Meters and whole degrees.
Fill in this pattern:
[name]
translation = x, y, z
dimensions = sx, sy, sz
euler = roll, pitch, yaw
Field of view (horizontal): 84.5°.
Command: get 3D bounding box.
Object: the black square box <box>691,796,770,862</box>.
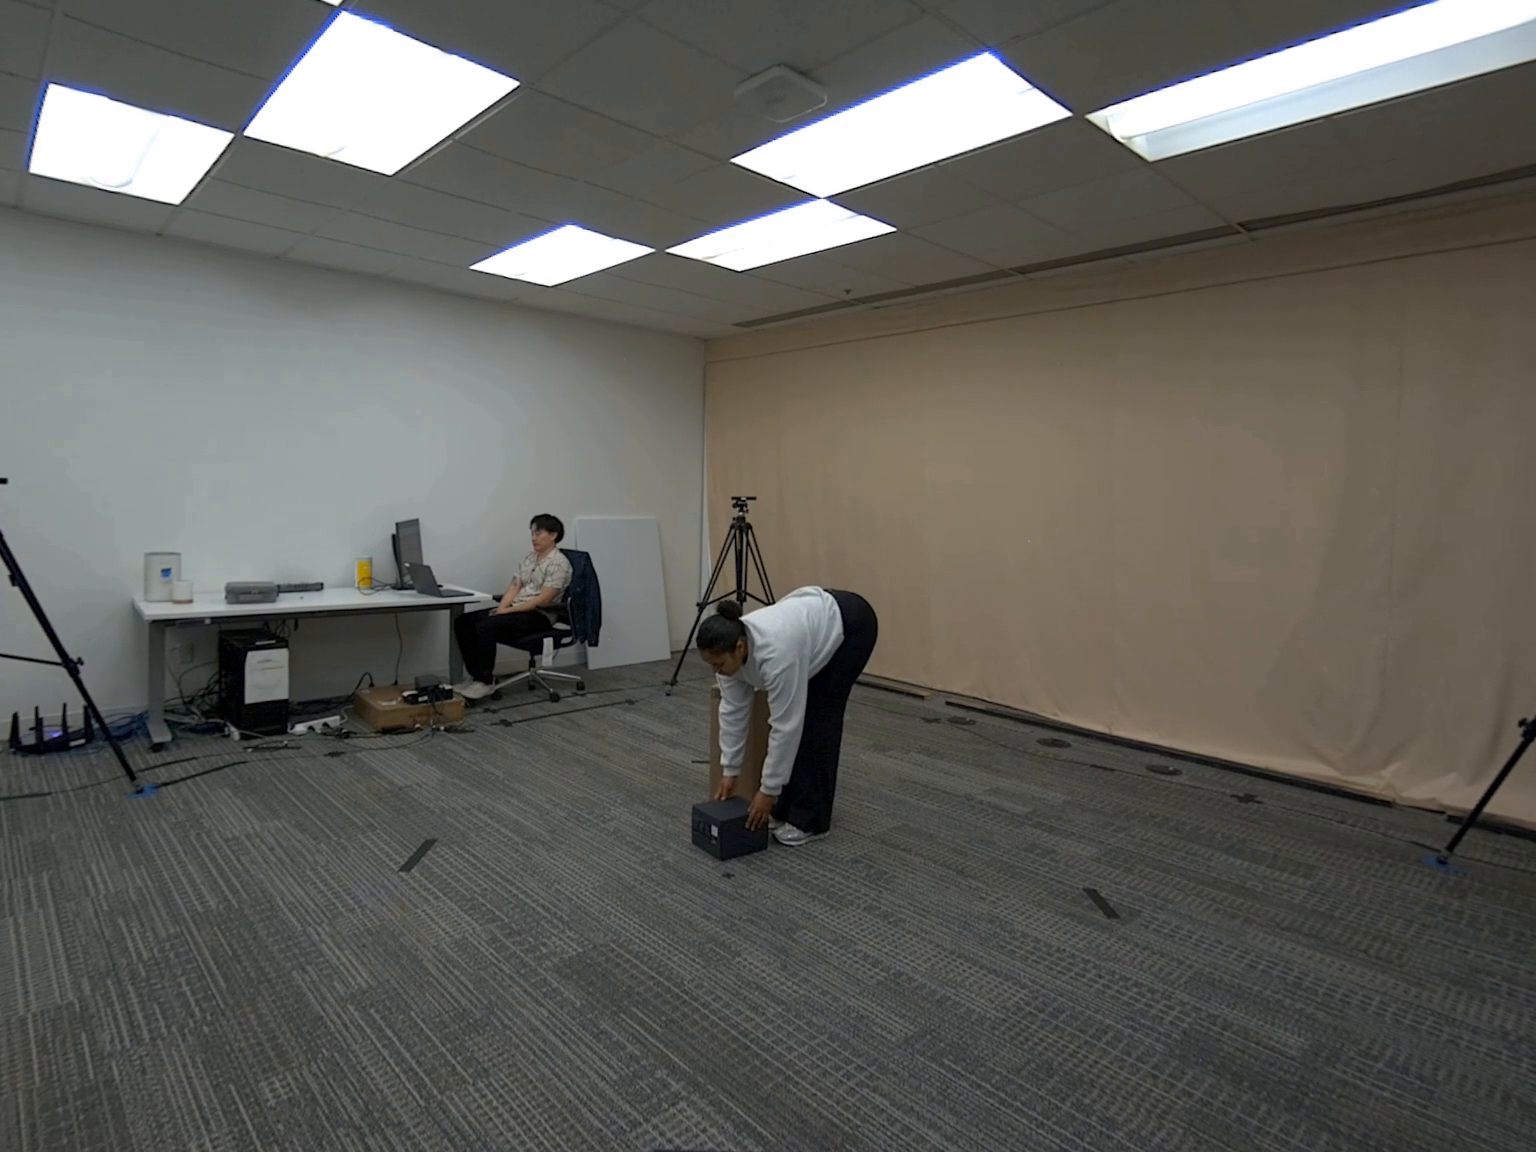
[black square box]
translation = -0.173, 0.993, 3.364
dimensions = 0.223, 0.156, 0.222
euler = -1, 4, -36
